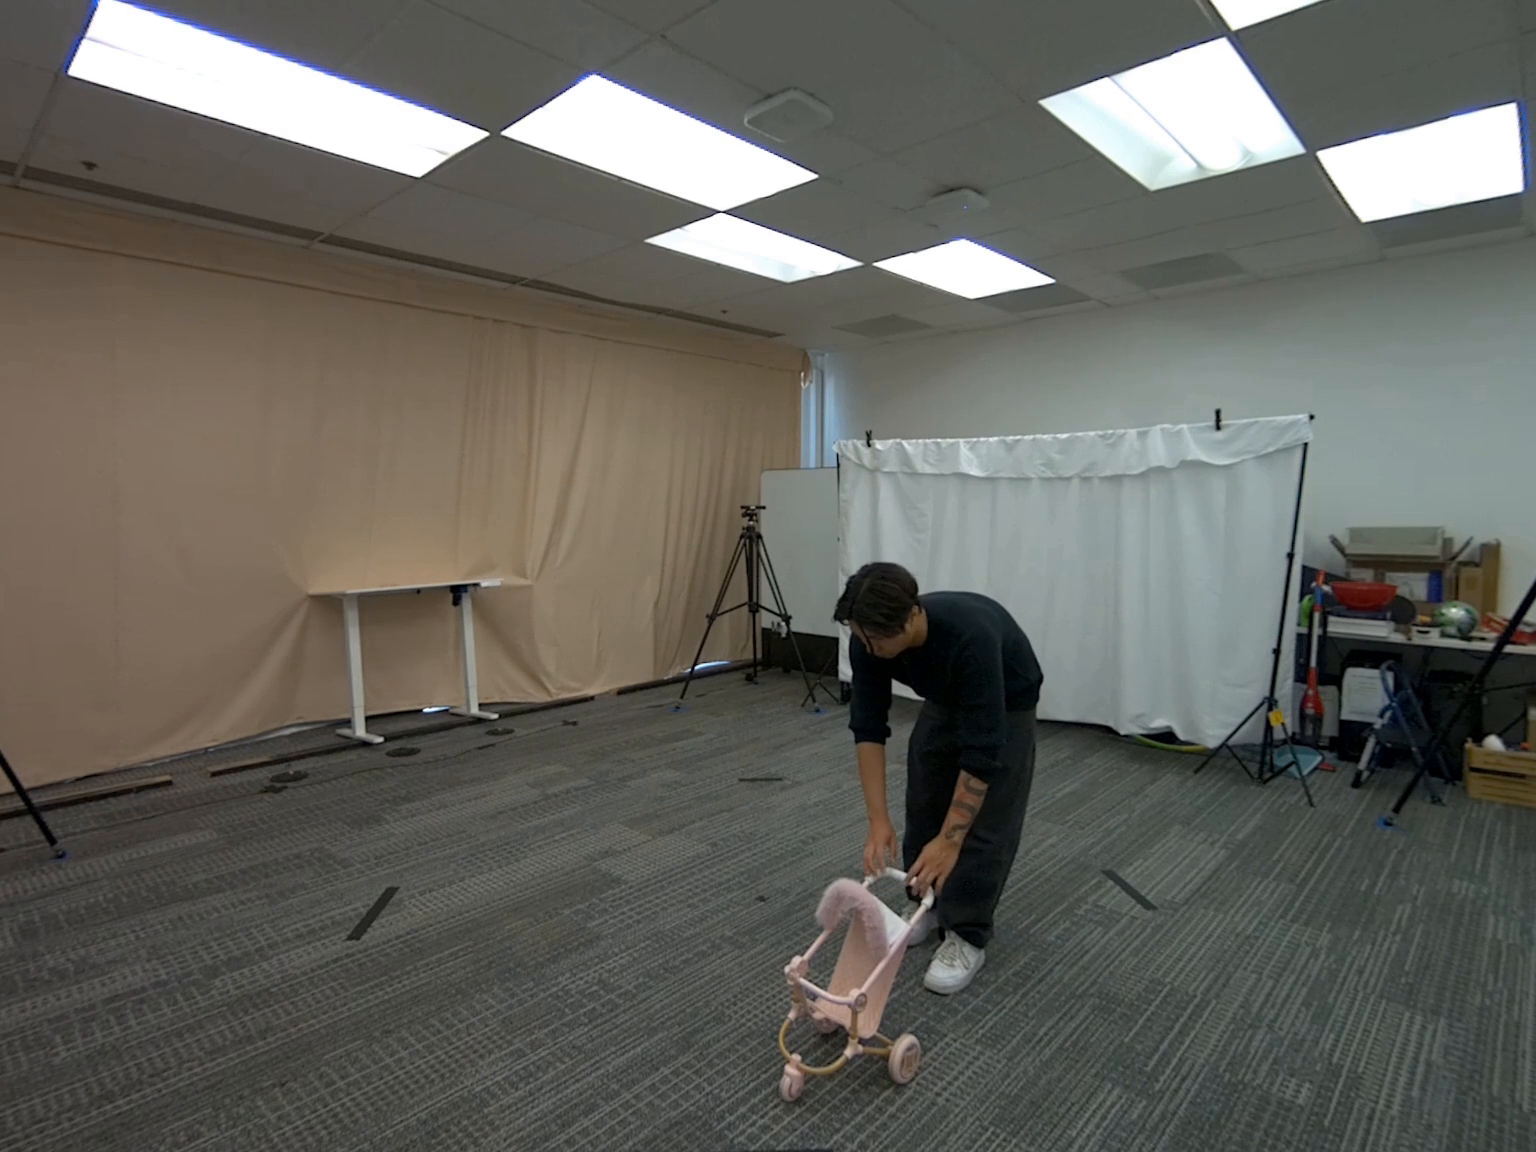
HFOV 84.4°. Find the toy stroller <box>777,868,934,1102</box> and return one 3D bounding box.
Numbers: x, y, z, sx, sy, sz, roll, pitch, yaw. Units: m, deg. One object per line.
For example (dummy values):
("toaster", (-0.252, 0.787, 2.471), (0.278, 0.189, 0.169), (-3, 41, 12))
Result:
("toy stroller", (0.203, 0.998, 2.082), (0.330, 0.536, 0.290), (20, -10, -36))
